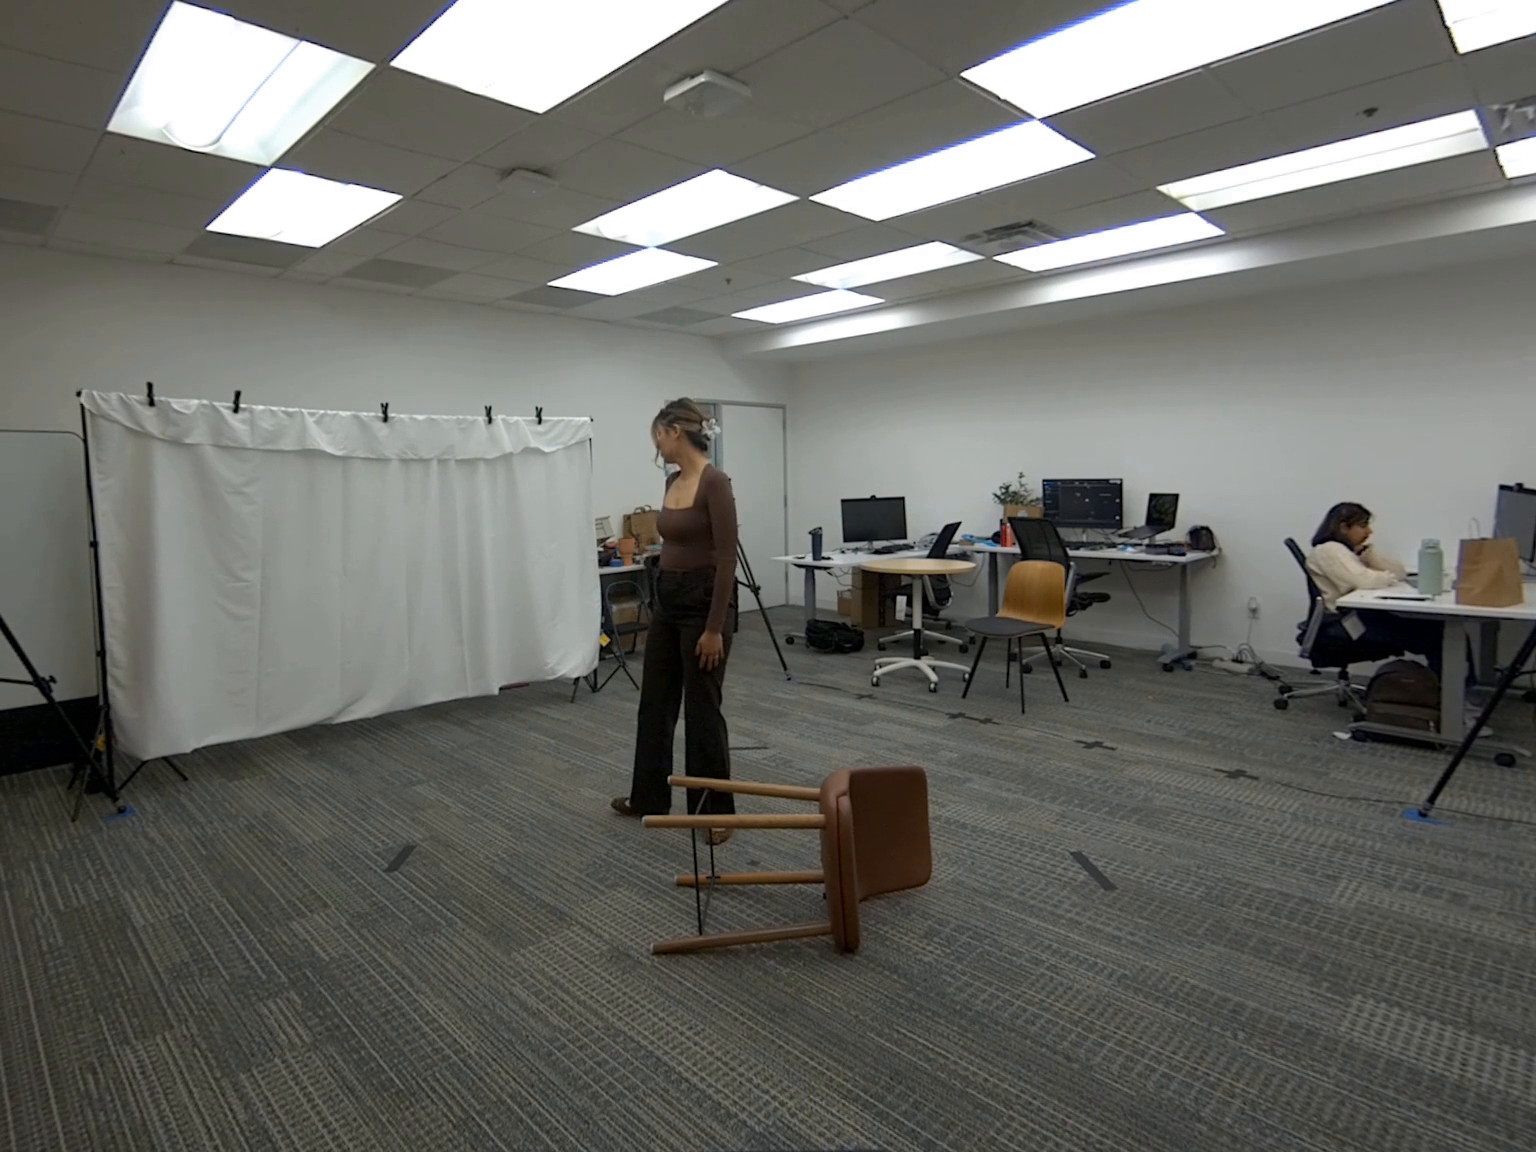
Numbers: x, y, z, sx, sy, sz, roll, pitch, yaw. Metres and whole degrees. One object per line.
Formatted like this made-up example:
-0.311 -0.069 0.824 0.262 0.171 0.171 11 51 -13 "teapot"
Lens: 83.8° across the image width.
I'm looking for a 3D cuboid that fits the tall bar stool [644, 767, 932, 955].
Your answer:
0.098 0.875 2.688 0.893 0.455 0.467 -3 3 4 "tall bar stool"
